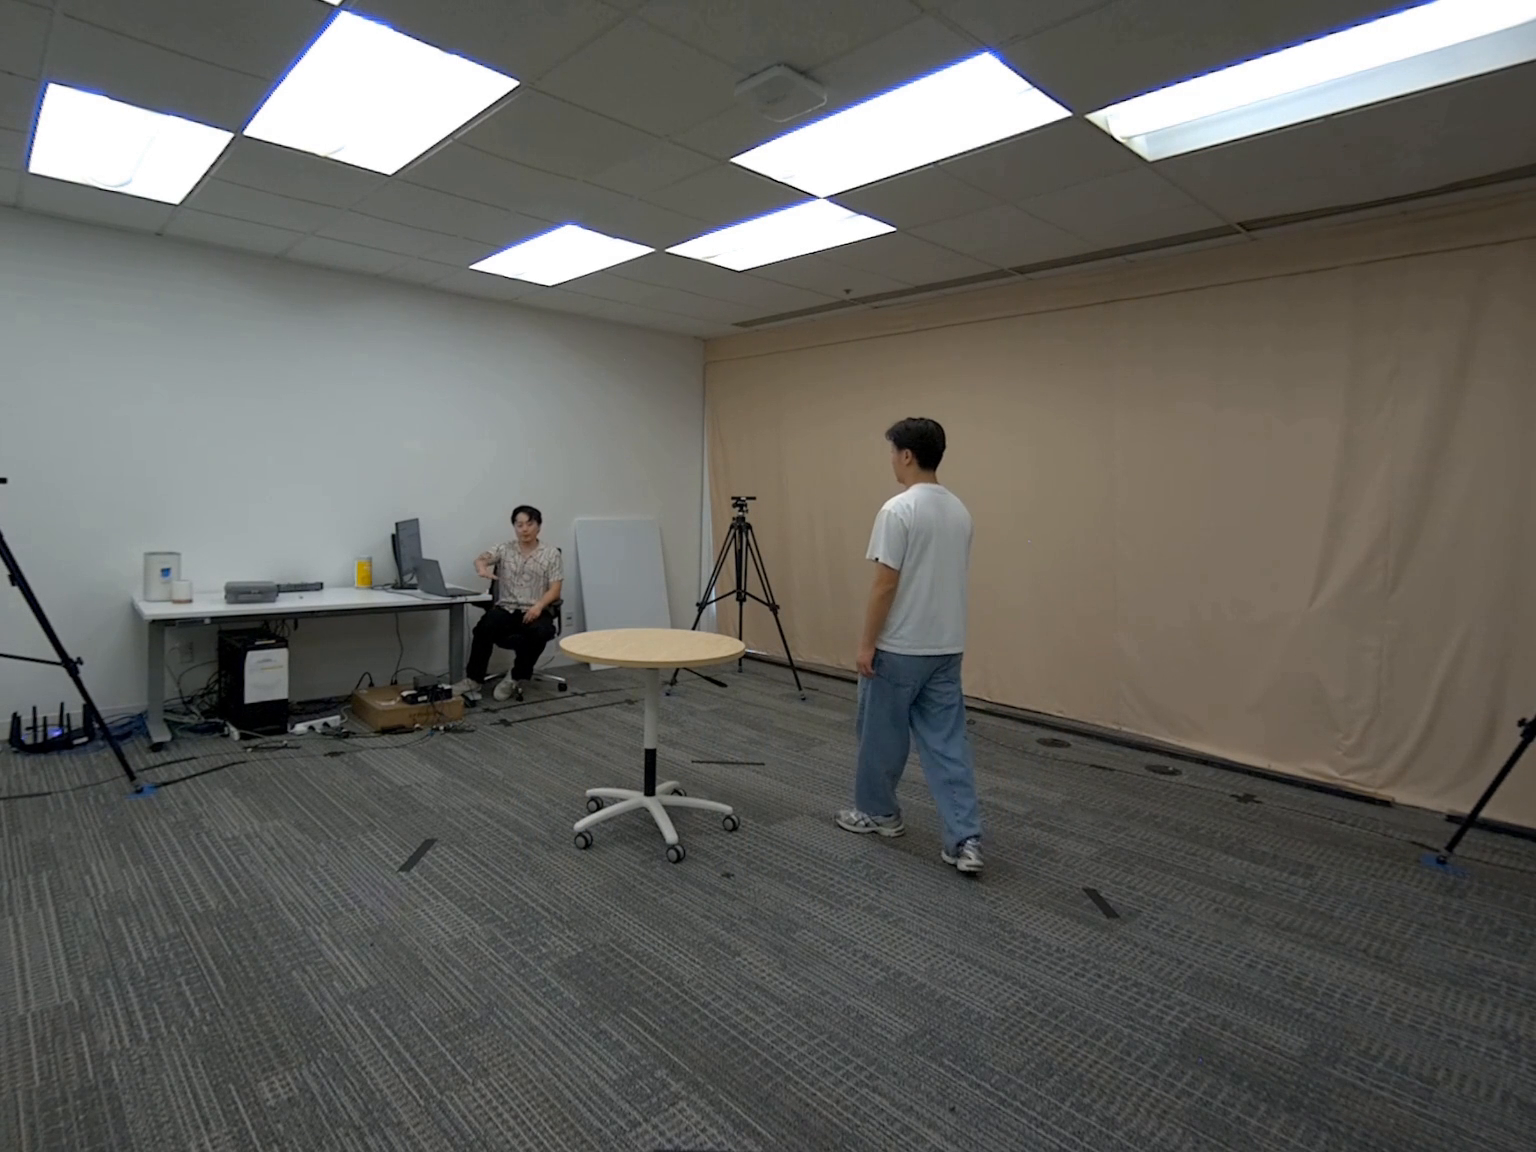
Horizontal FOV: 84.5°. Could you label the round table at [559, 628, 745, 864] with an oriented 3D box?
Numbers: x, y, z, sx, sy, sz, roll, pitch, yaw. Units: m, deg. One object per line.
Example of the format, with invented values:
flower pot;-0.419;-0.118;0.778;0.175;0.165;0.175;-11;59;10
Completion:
round table;-0.493;0.672;3.507;0.763;0.792;0.766;1;4;-1
